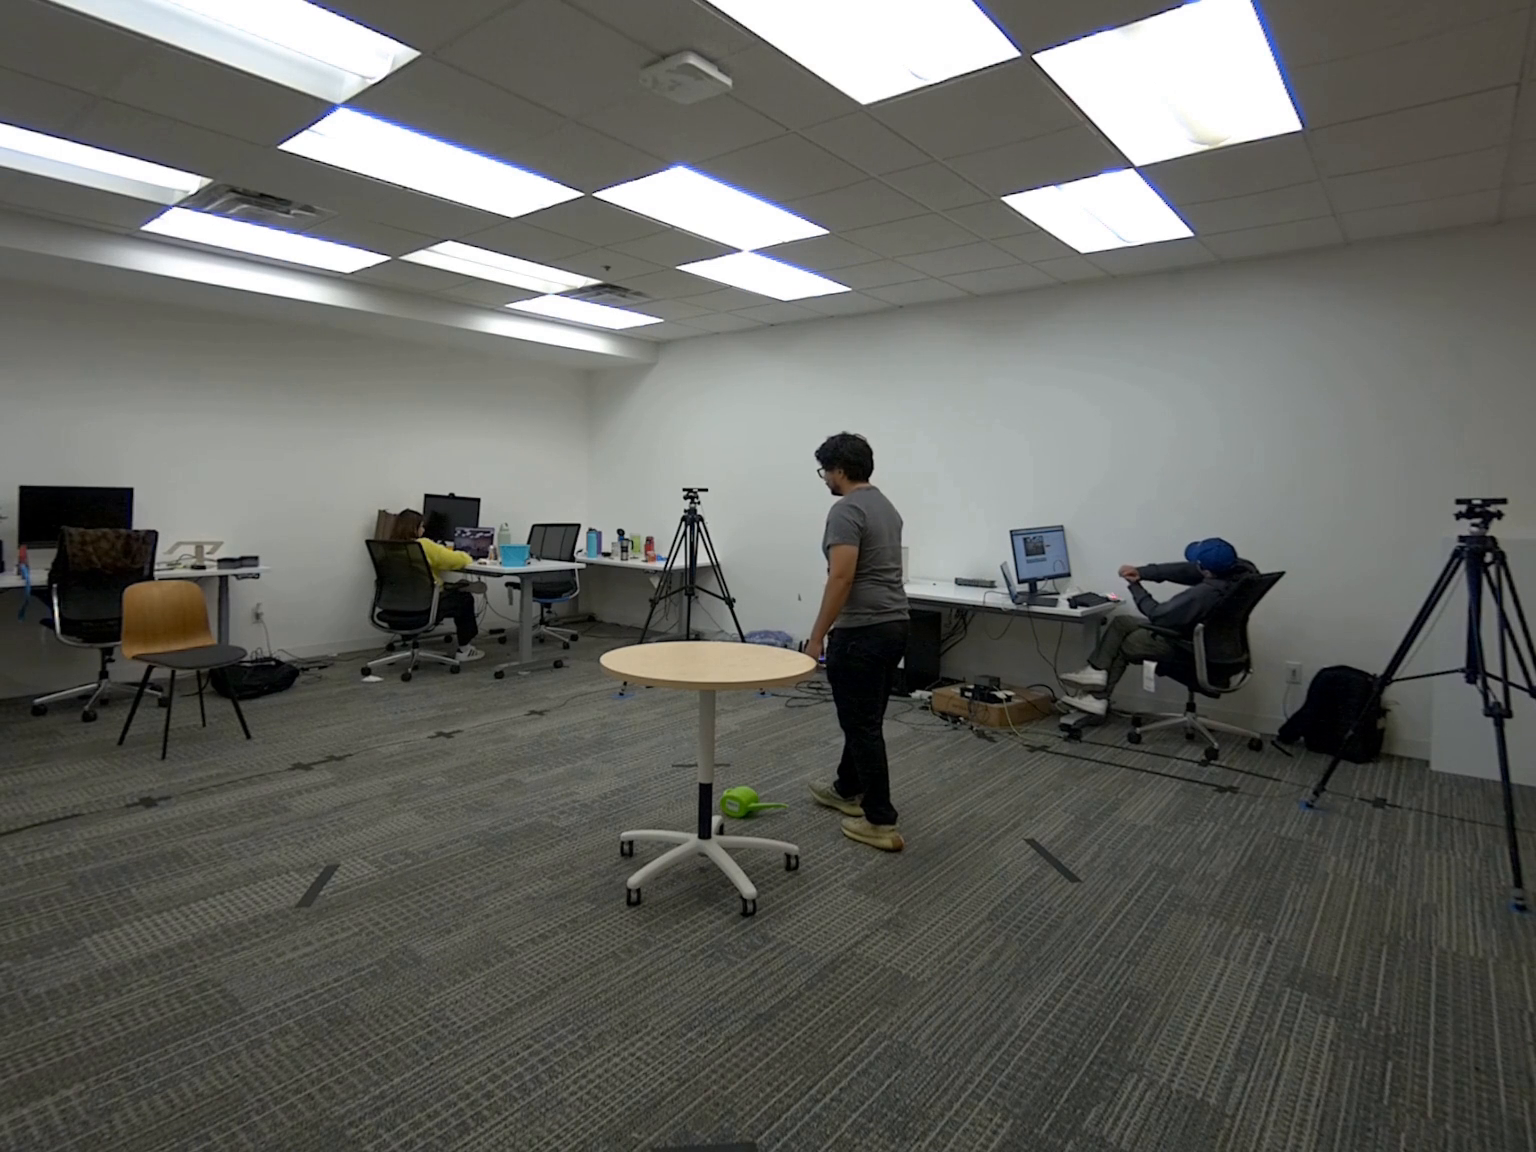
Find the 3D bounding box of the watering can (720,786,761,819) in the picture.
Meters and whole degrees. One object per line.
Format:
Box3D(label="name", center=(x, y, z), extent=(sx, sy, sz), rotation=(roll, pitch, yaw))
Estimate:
Box3D(label="watering can", center=(-0.085, 0.968, 3.673), extent=(0.285, 0.098, 0.173), rotation=(-5, 1, 26))
